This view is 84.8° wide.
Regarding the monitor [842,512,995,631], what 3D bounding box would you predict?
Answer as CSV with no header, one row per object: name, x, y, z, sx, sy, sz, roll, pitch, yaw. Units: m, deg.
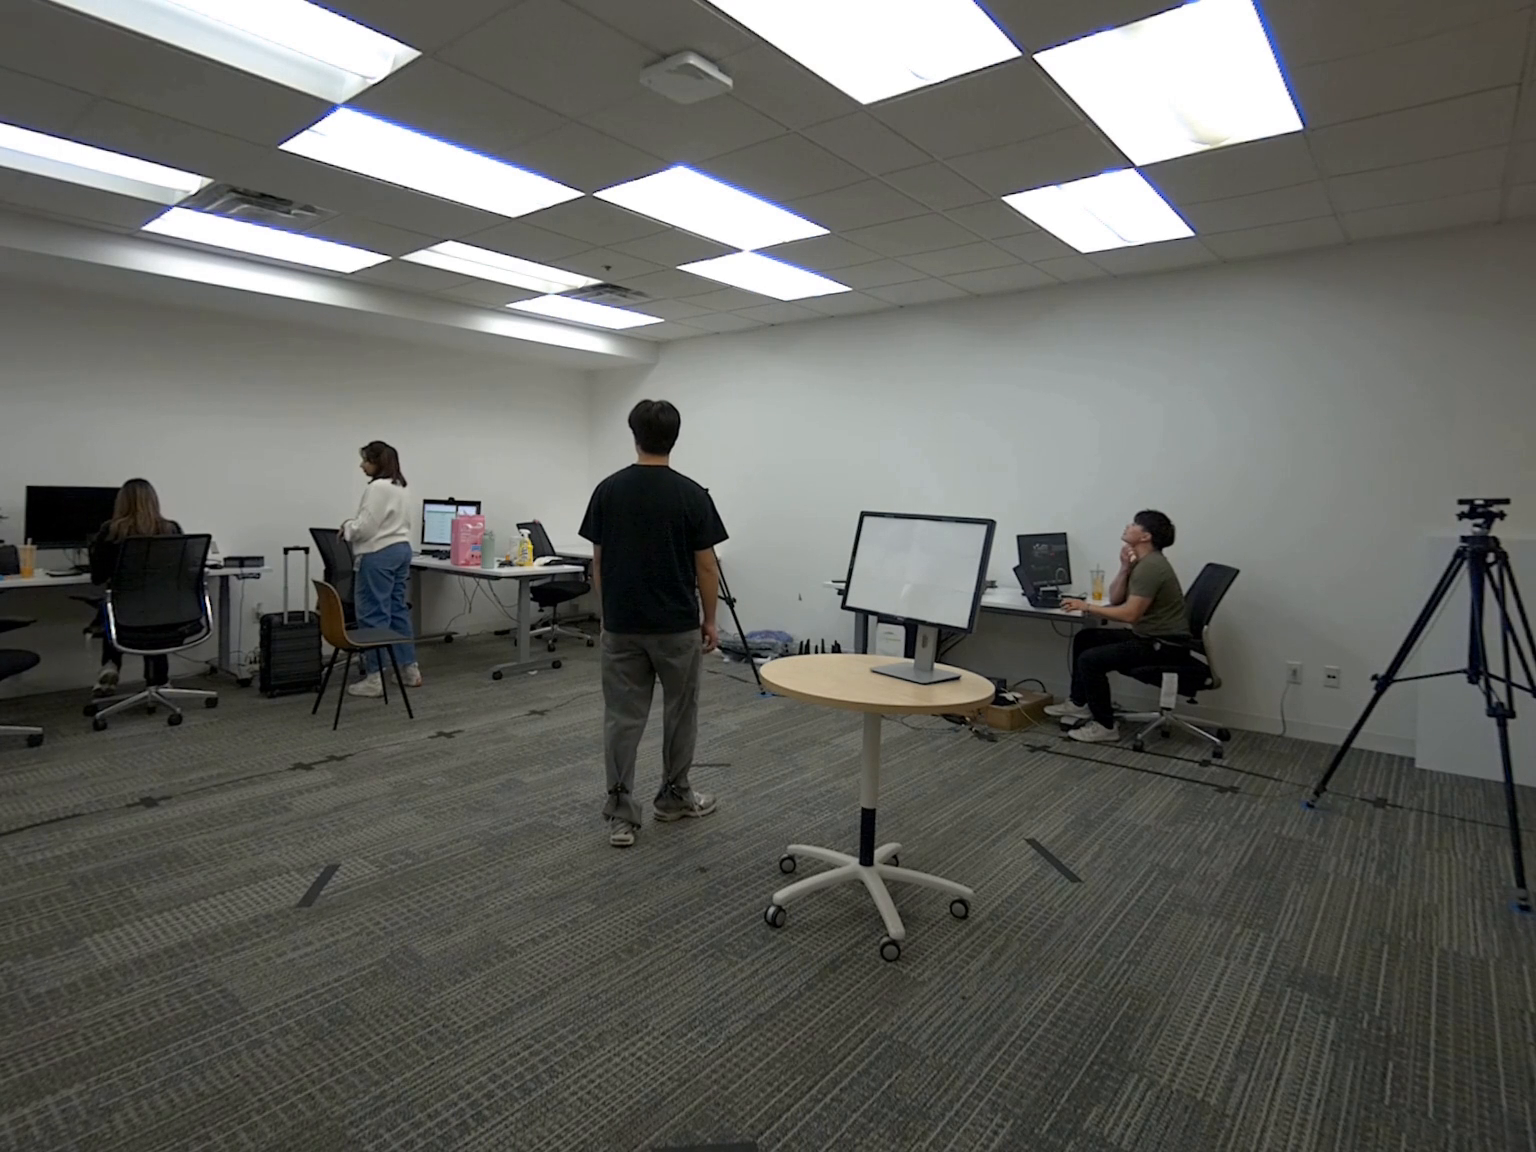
monitor,0.500,0.073,2.867,0.216,0.563,0.581,-3,6,-36
